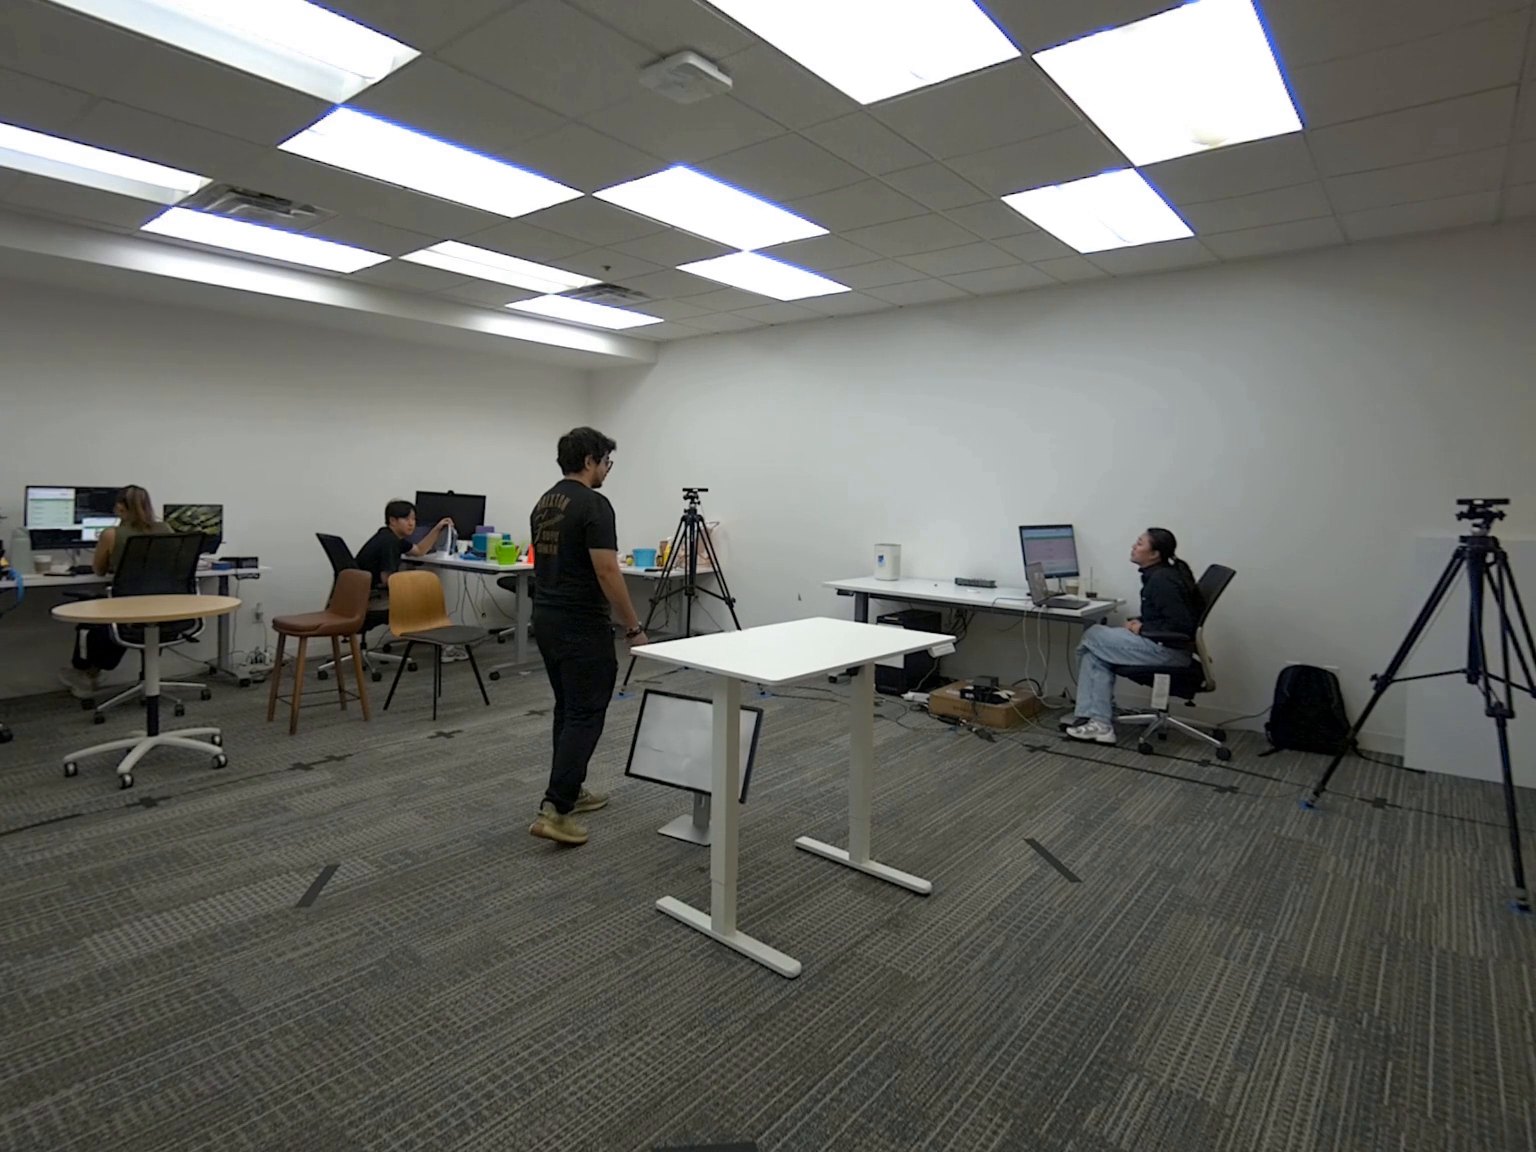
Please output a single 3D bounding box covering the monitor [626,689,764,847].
[{"bbox_3d":[-0.289,0.771,3.462,0.582,0.557,0.203,4,-6,29],"label":"monitor"}]
